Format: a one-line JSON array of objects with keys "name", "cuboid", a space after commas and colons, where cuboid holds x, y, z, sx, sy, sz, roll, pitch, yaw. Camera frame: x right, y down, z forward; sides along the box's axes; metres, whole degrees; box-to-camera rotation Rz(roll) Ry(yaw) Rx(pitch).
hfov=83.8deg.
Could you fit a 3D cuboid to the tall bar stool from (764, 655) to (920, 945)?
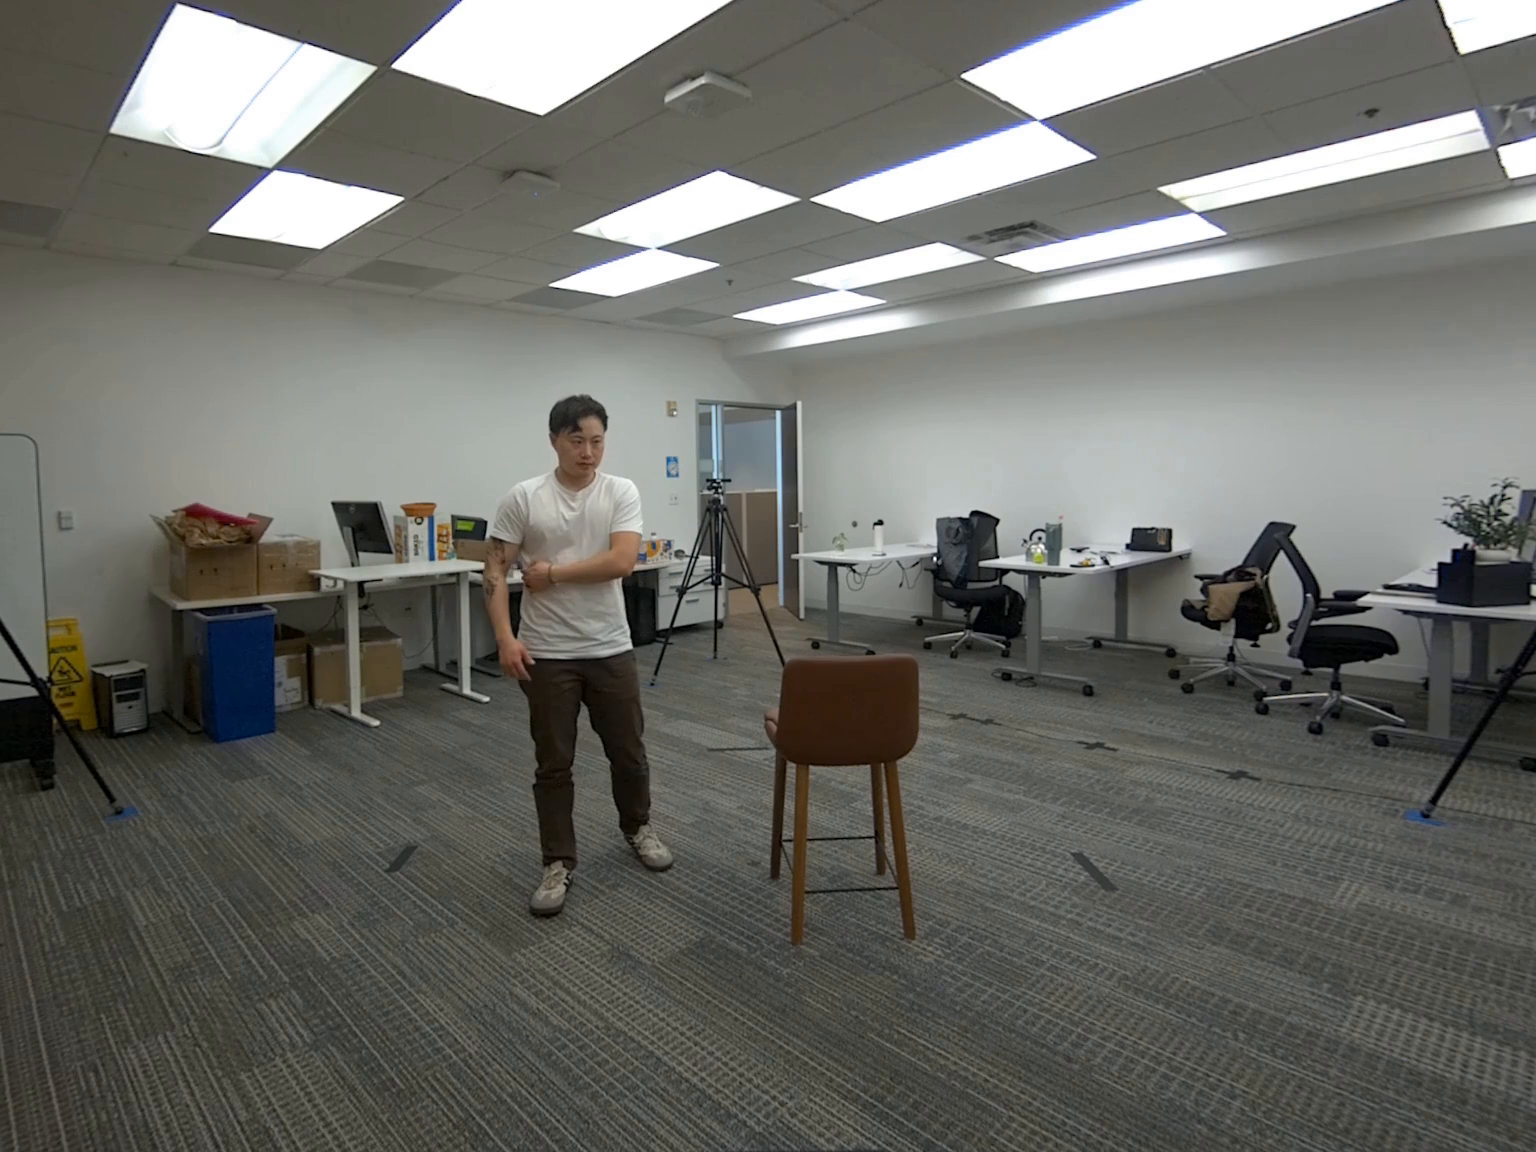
[{"name": "tall bar stool", "cuboid": [0.227, 0.643, 2.757, 0.454, 0.885, 0.472, -1, 6, -5]}]
